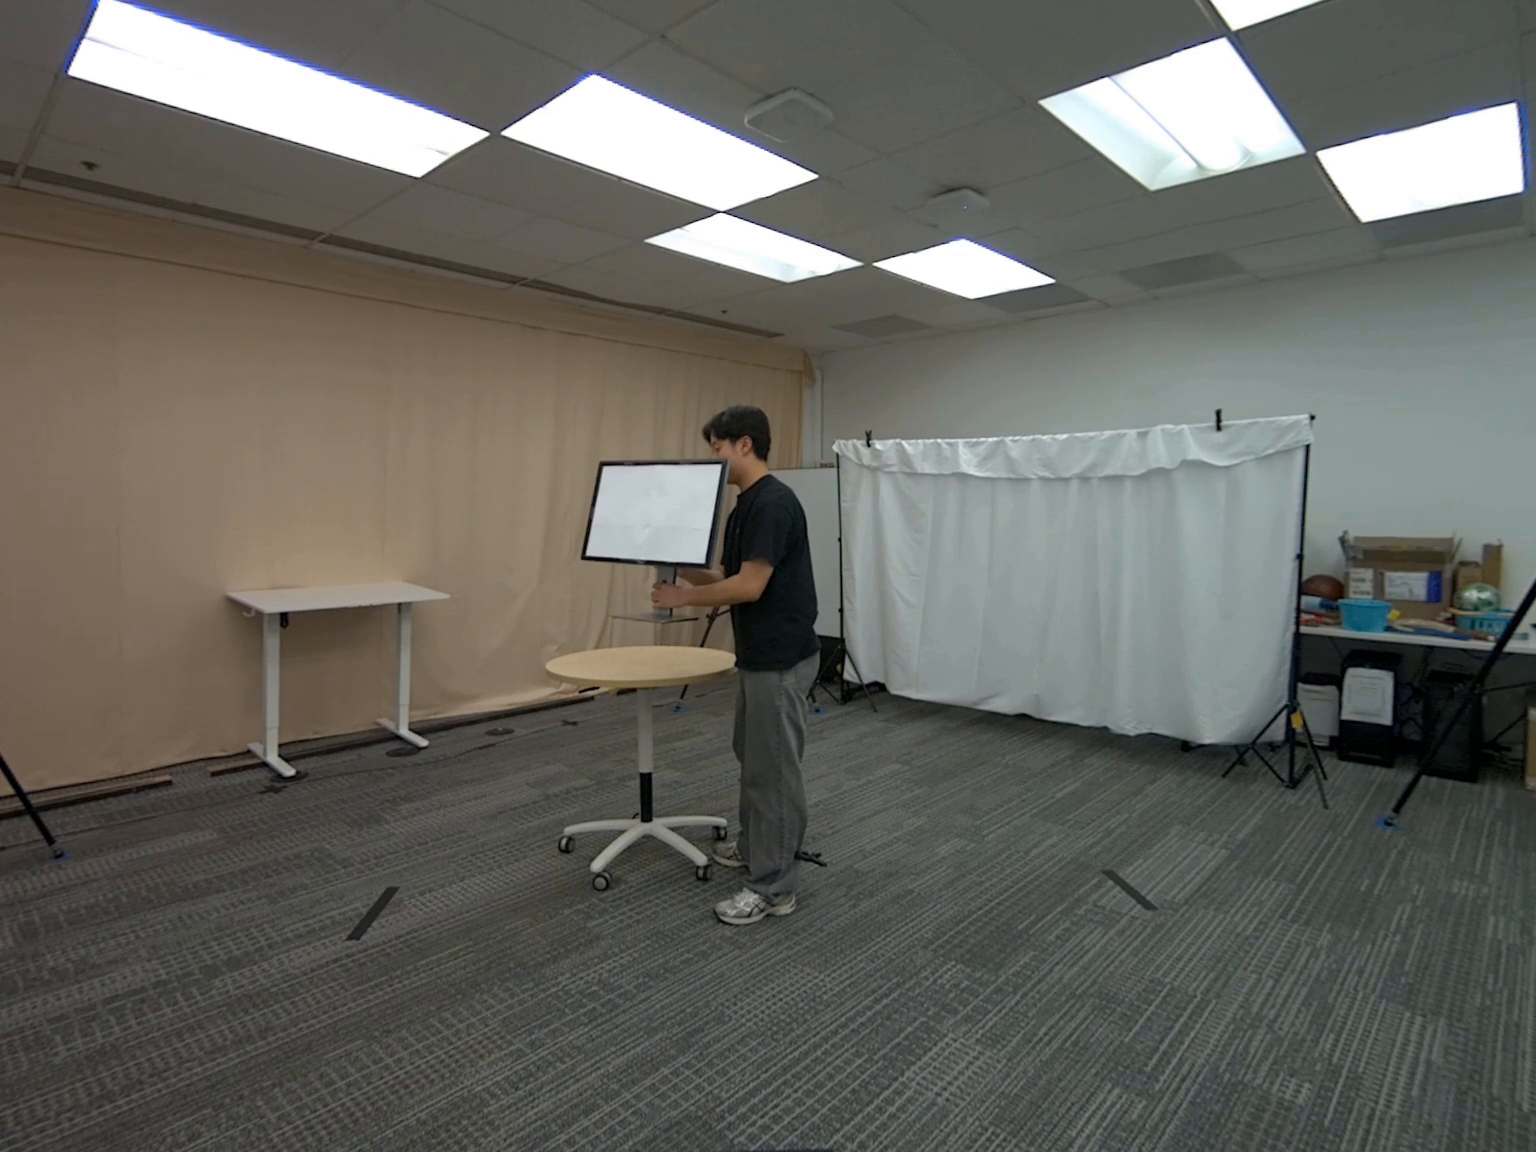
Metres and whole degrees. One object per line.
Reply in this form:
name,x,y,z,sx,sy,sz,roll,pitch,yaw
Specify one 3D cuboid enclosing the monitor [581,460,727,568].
monitor,-0.374,-0.111,2.869,0.580,0.565,0.215,3,4,36
